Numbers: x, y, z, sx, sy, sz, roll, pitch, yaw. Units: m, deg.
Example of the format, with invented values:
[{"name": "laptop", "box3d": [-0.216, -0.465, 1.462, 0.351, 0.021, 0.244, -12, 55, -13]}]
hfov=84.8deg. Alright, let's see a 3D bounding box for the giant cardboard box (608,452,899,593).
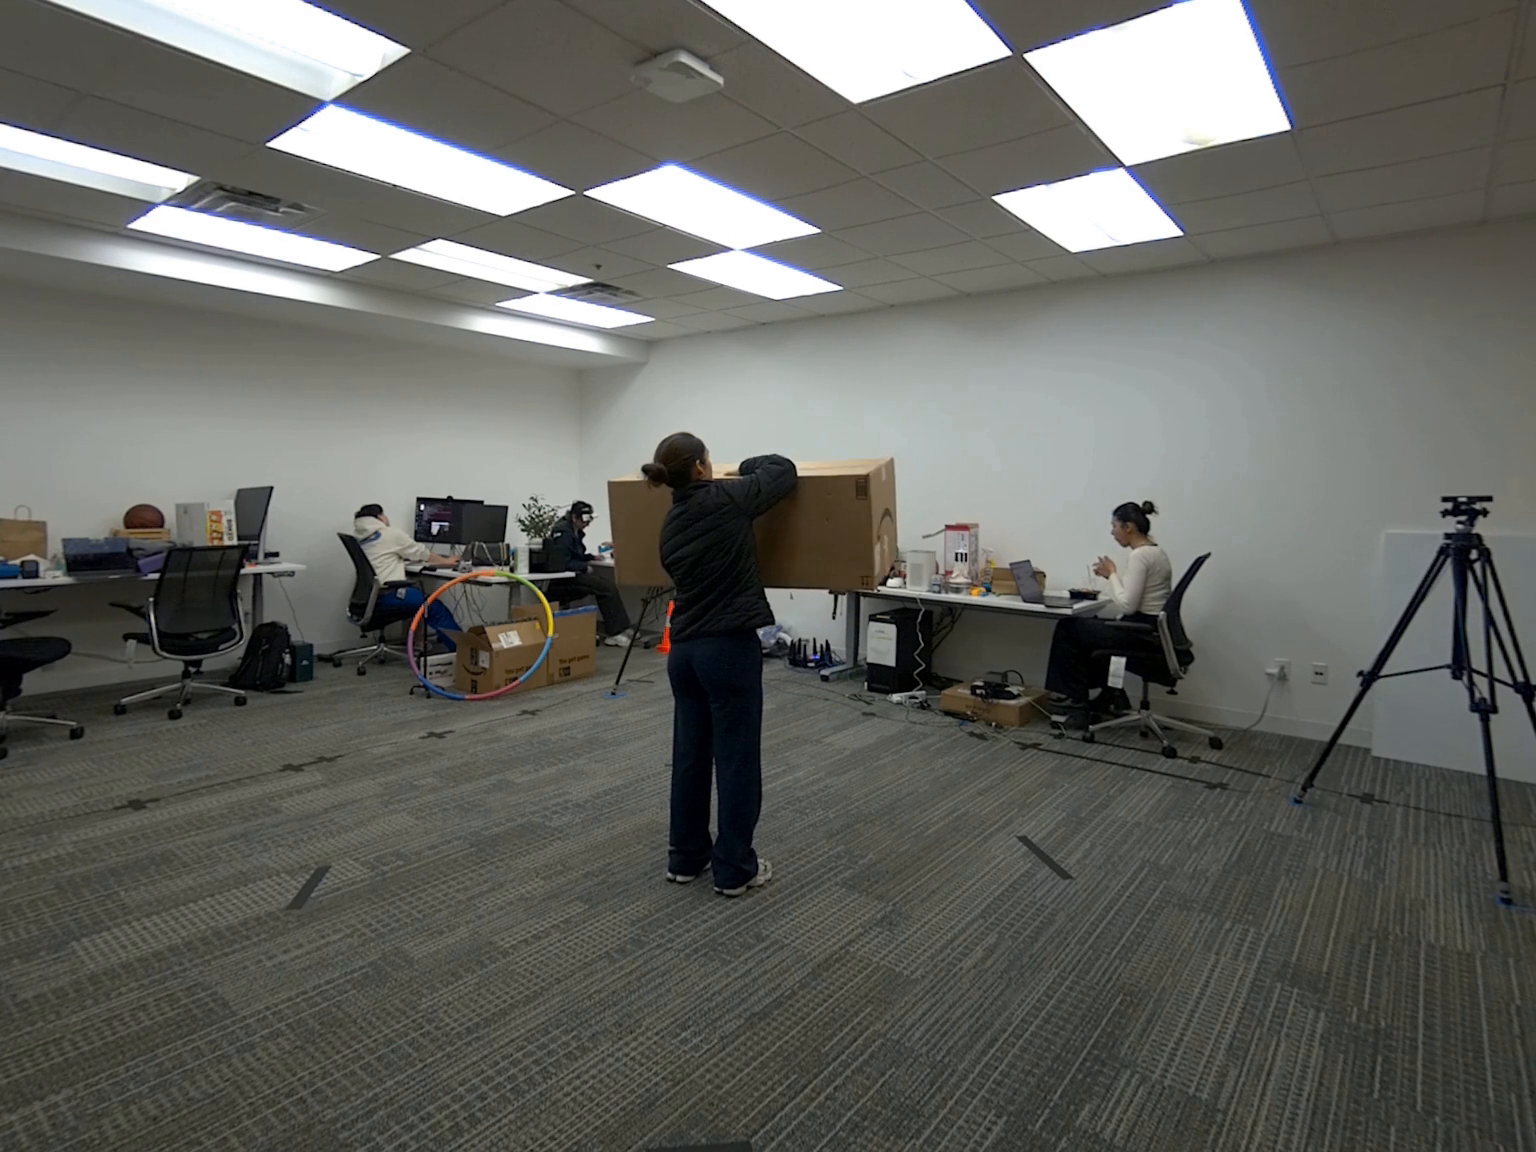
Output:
[{"name": "giant cardboard box", "box3d": [-0.026, -0.230, 3.429, 1.048, 0.421, 0.572, 1, 13, 21]}]
